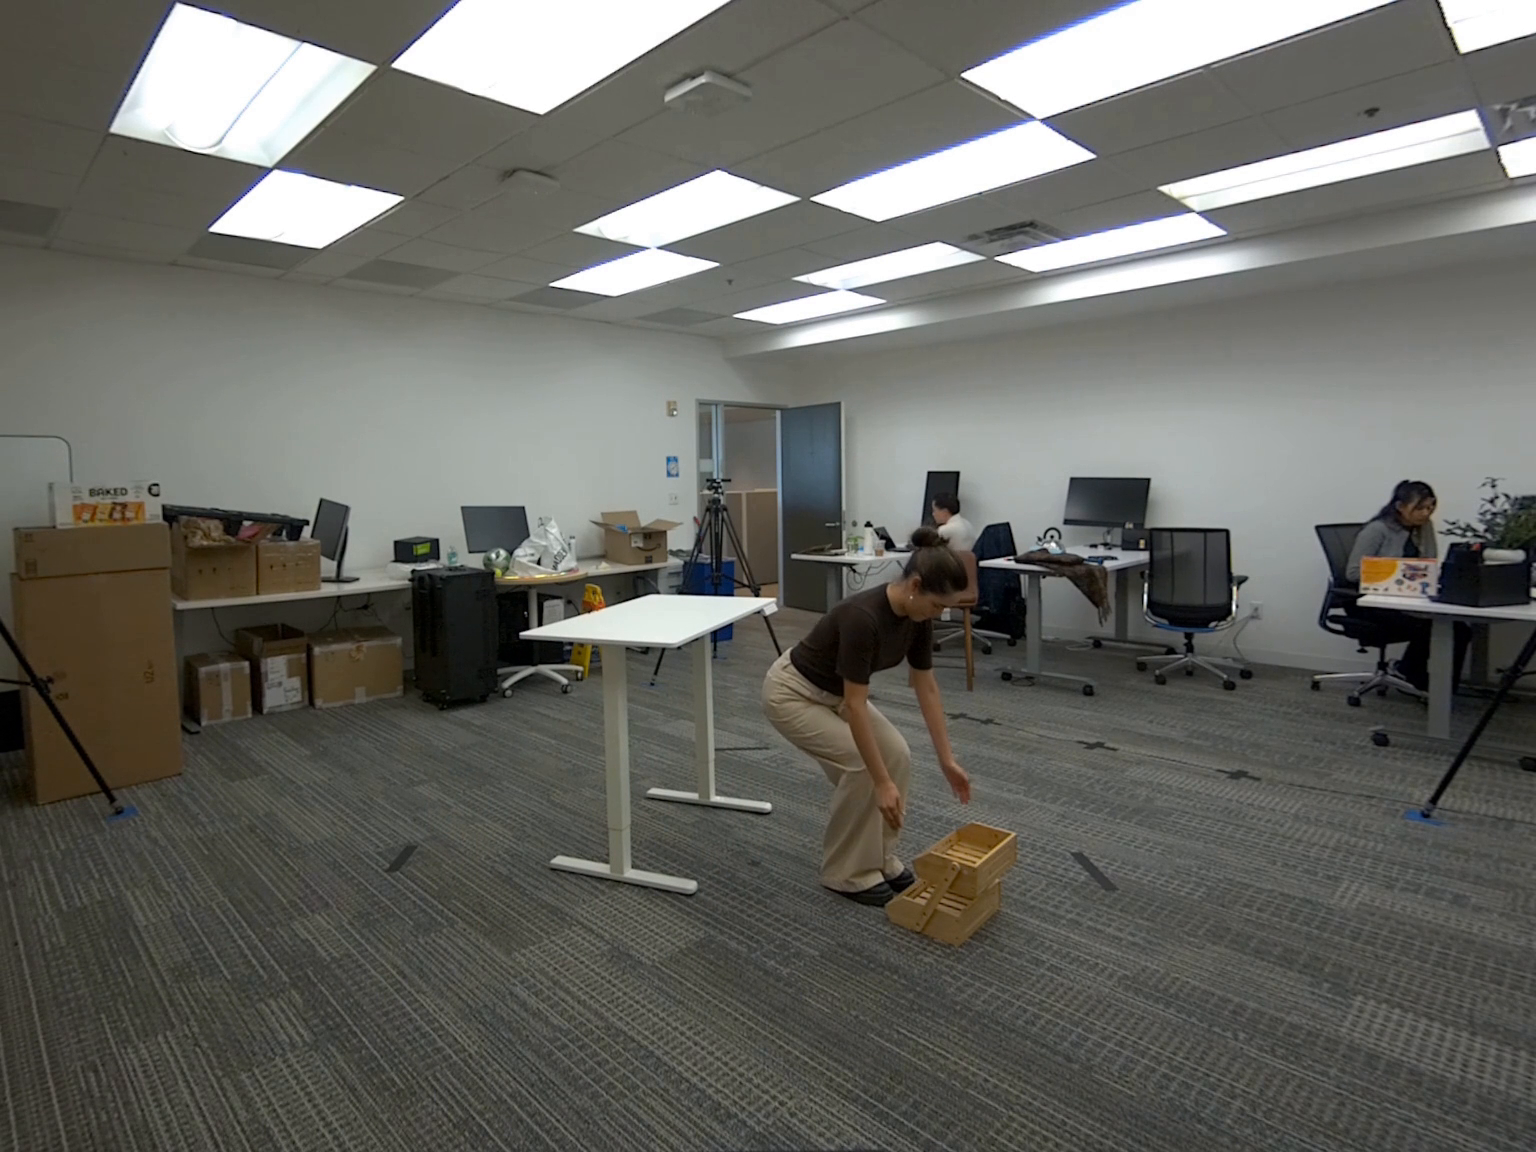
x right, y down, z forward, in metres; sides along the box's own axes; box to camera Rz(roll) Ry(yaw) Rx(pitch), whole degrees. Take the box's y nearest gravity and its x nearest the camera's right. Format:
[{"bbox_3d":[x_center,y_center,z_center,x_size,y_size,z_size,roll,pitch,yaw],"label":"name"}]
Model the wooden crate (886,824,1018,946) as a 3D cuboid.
[{"bbox_3d":[0.581,0.944,2.697,0.311,0.272,0.316,4,7,39],"label":"wooden crate"}]
